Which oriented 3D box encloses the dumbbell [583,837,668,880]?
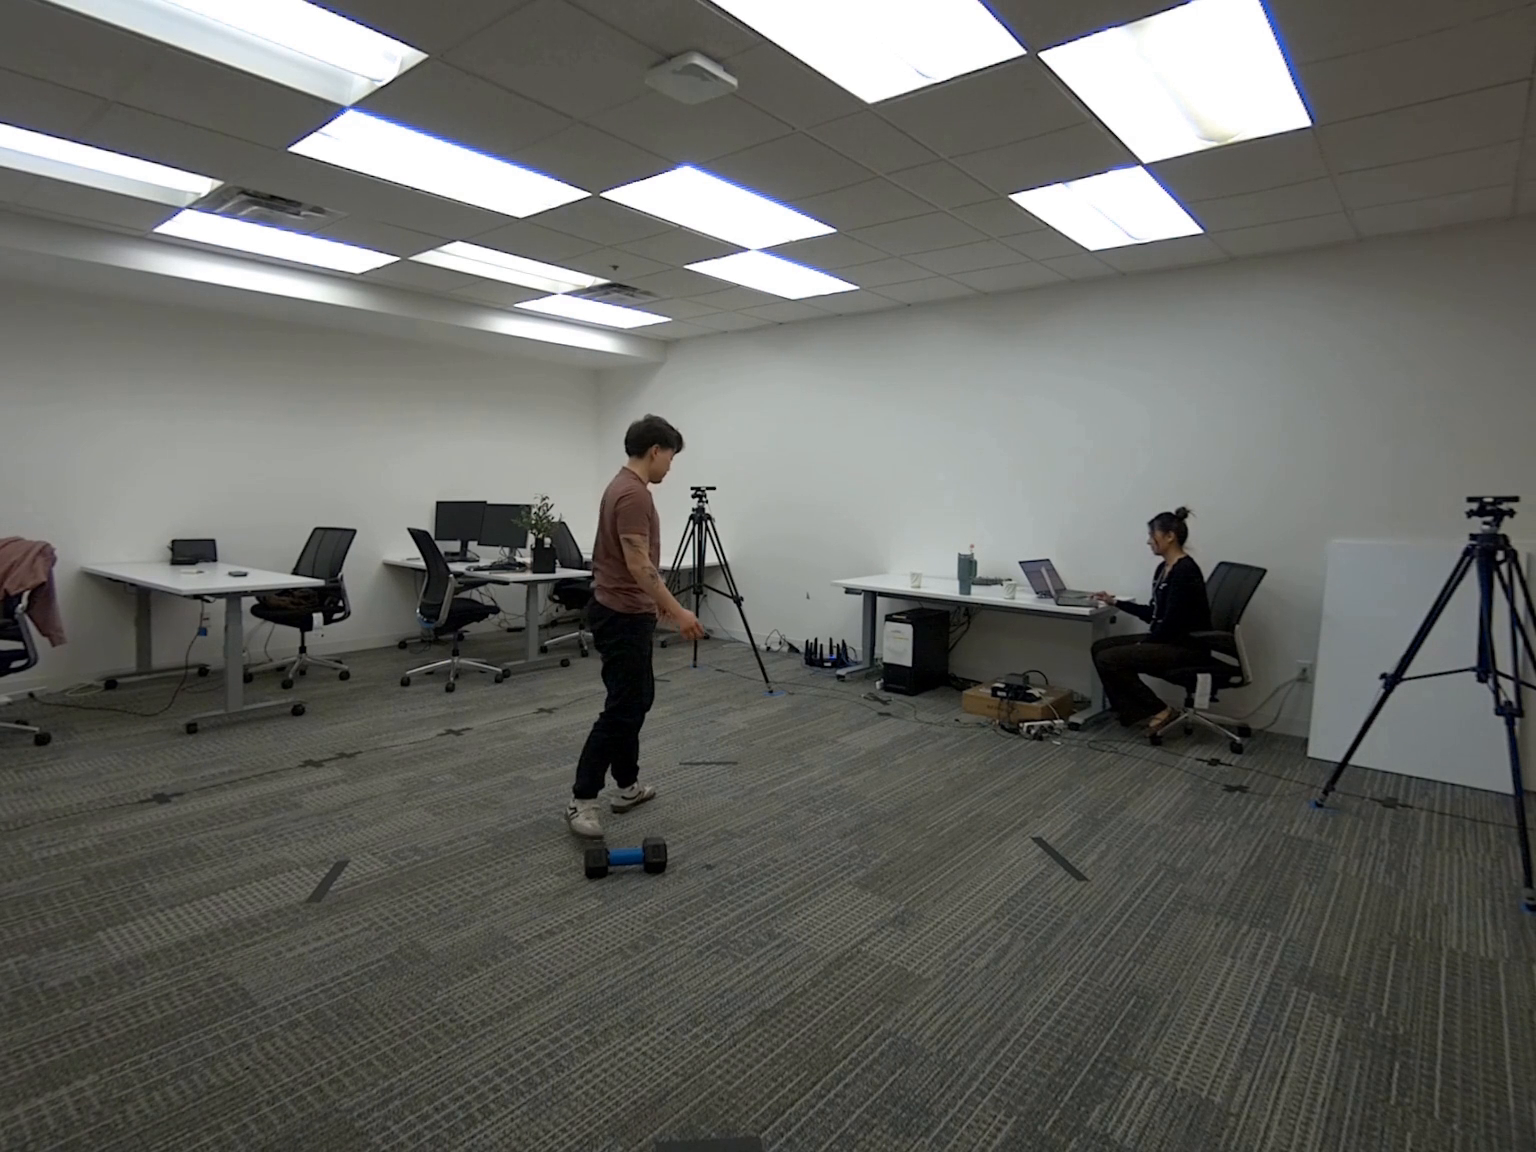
[{"bbox_3d":[-0.524,1.010,3.063,0.290,0.120,0.112,1,34,-12],"label":"dumbbell"}]
